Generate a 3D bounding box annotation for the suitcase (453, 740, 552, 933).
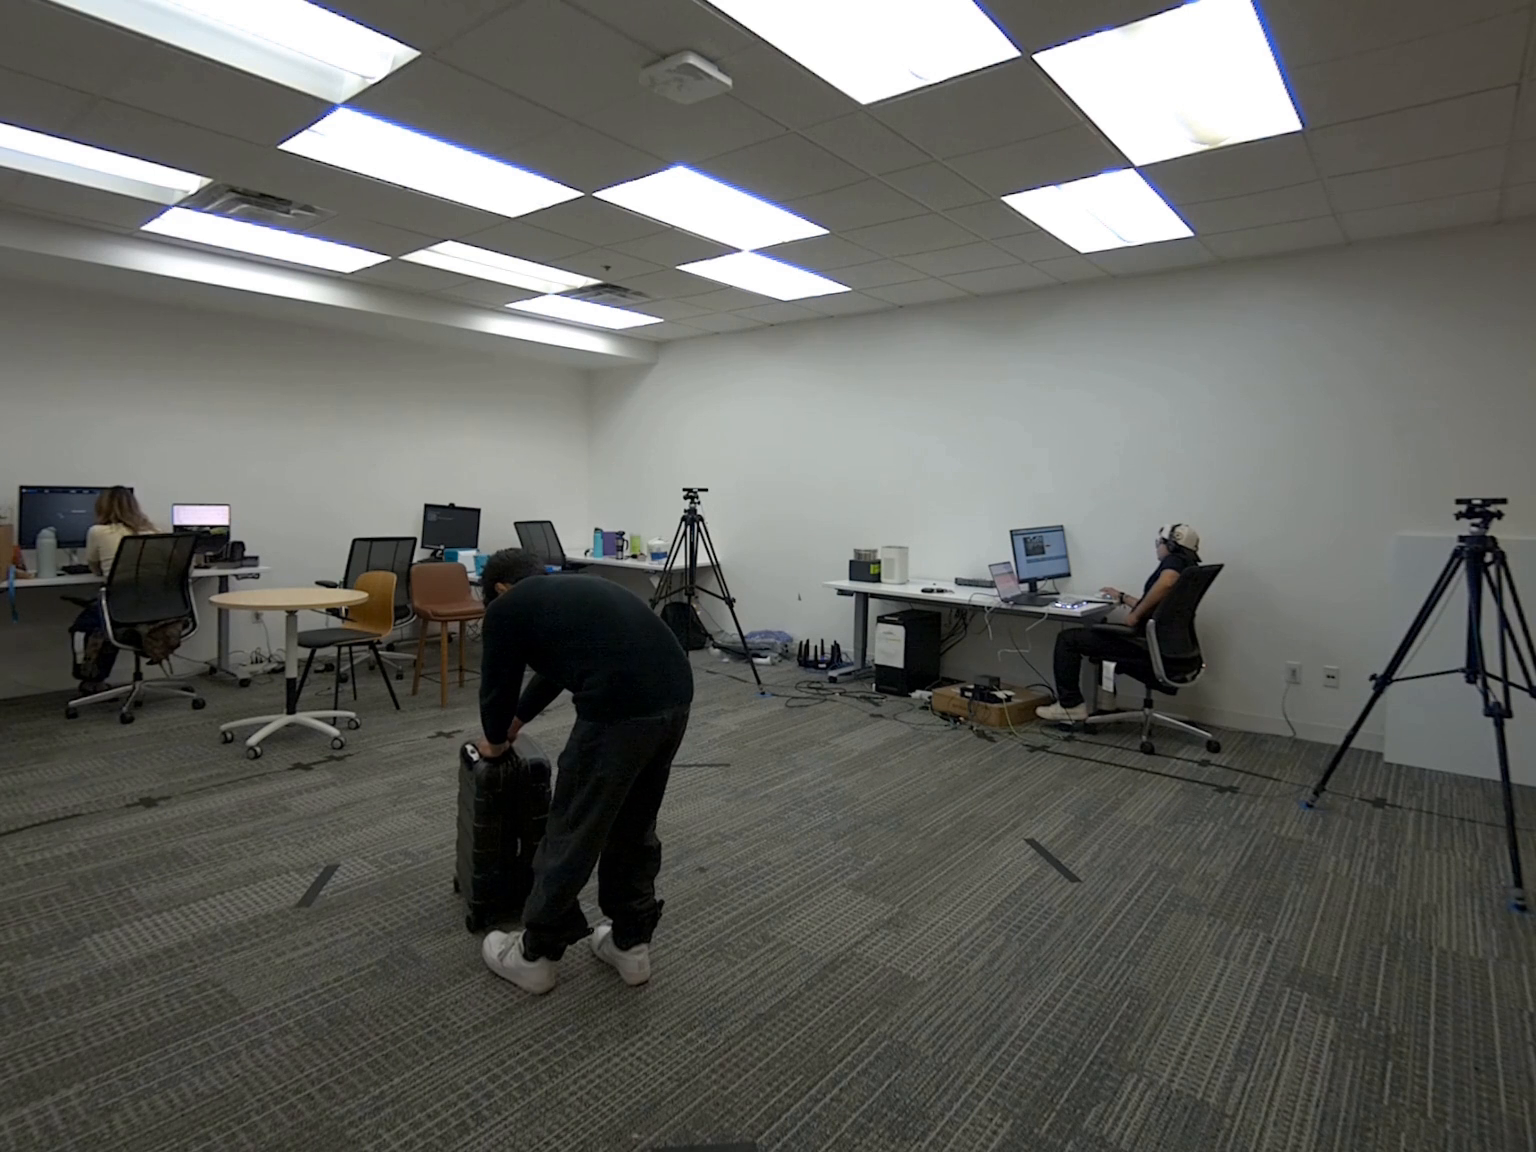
[{"bbox_3d":[-0.889,0.814,2.807,0.242,0.547,0.386,0,5,-27],"label":"suitcase"}]
